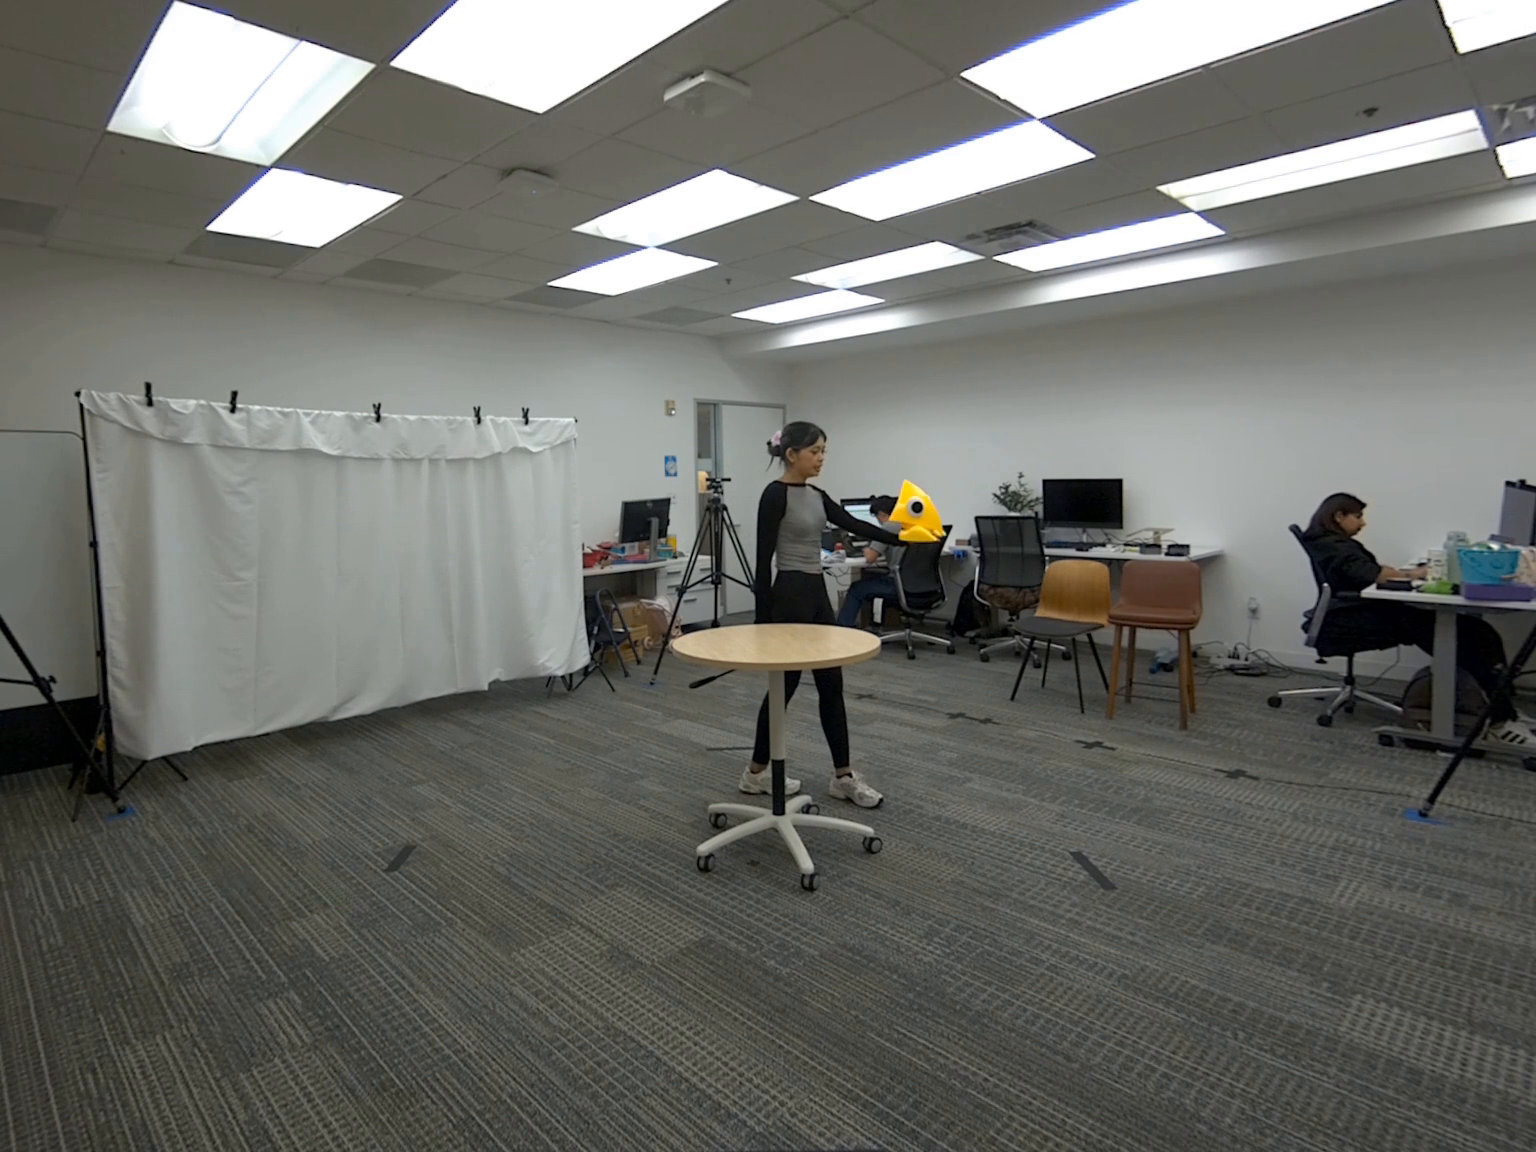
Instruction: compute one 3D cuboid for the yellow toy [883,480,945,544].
[{"bbox_3d":[0.610,-0.270,3.414,0.198,0.229,0.201,4,11,29],"label":"yellow toy"}]
